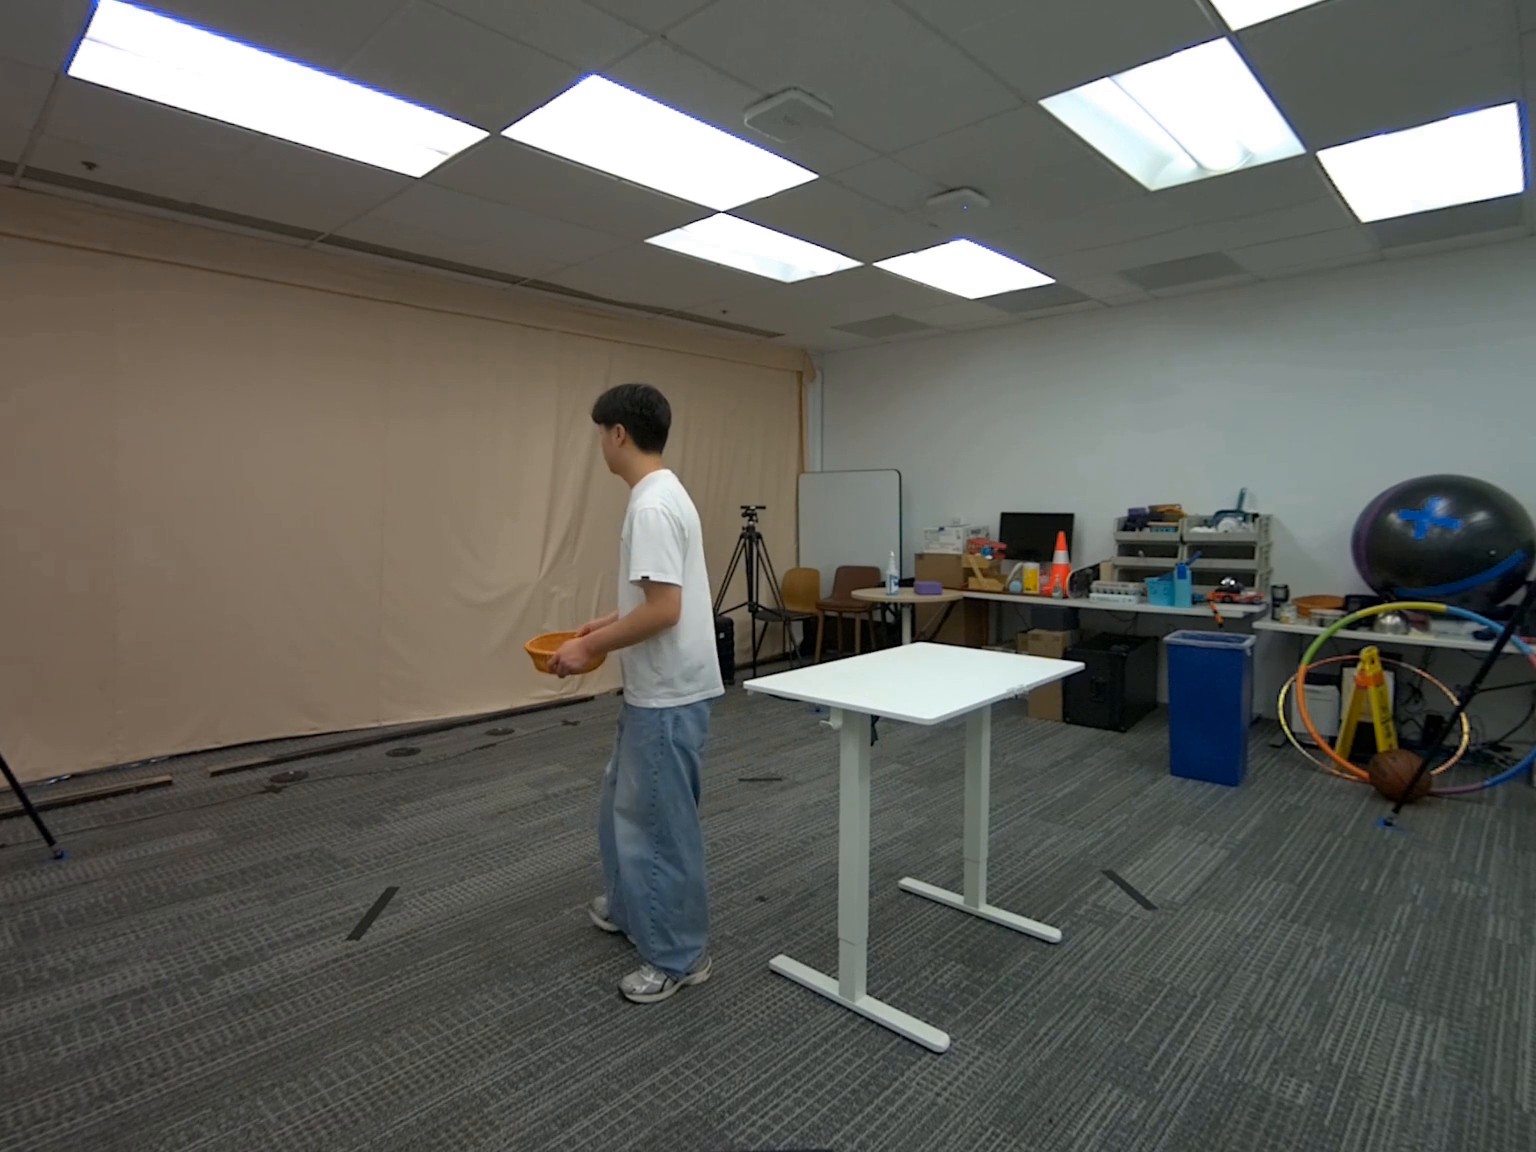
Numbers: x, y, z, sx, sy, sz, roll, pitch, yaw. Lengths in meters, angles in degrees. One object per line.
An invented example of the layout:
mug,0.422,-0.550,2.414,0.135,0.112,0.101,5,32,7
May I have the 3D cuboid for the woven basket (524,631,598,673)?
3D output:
woven basket,-0.574,0.234,2.503,0.255,0.073,0.349,3,7,6
